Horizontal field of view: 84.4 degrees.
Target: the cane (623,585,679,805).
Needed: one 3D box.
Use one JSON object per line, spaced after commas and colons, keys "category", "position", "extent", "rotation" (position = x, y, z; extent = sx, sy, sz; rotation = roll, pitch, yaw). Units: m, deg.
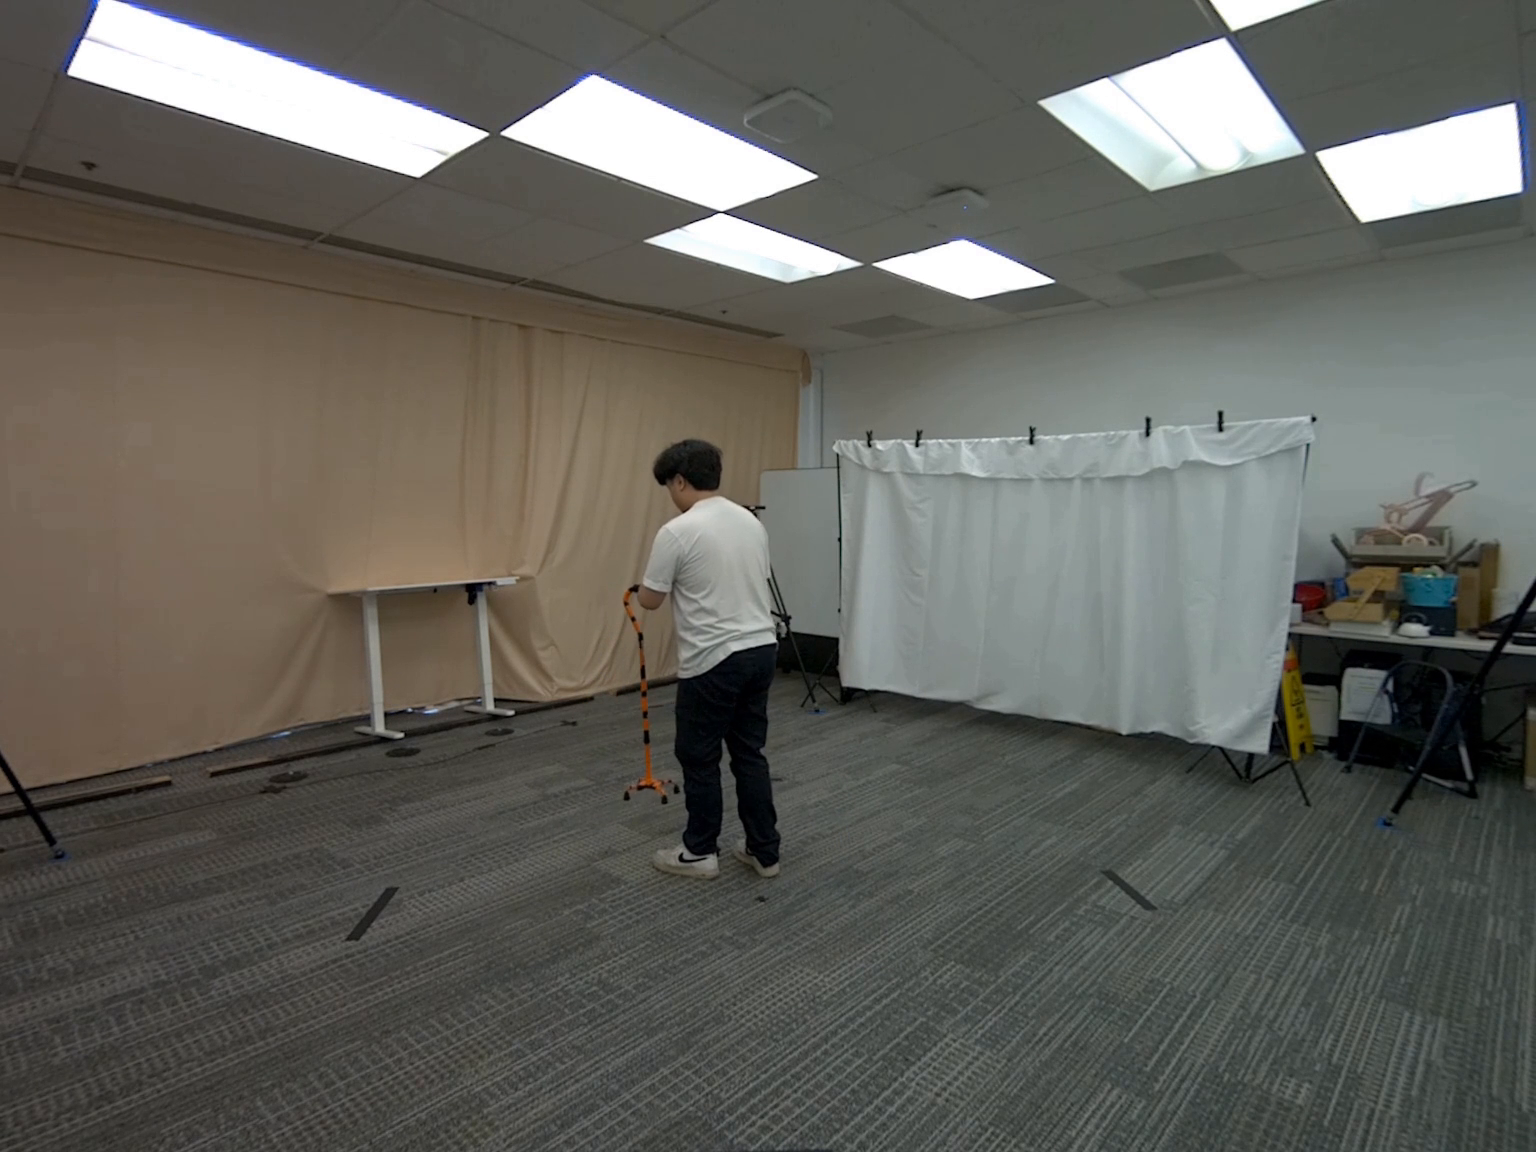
{"category": "cane", "position": [-0.522, 0.497, 3.554], "extent": [0.210, 0.905, 0.149], "rotation": [-1, 5, 17]}
